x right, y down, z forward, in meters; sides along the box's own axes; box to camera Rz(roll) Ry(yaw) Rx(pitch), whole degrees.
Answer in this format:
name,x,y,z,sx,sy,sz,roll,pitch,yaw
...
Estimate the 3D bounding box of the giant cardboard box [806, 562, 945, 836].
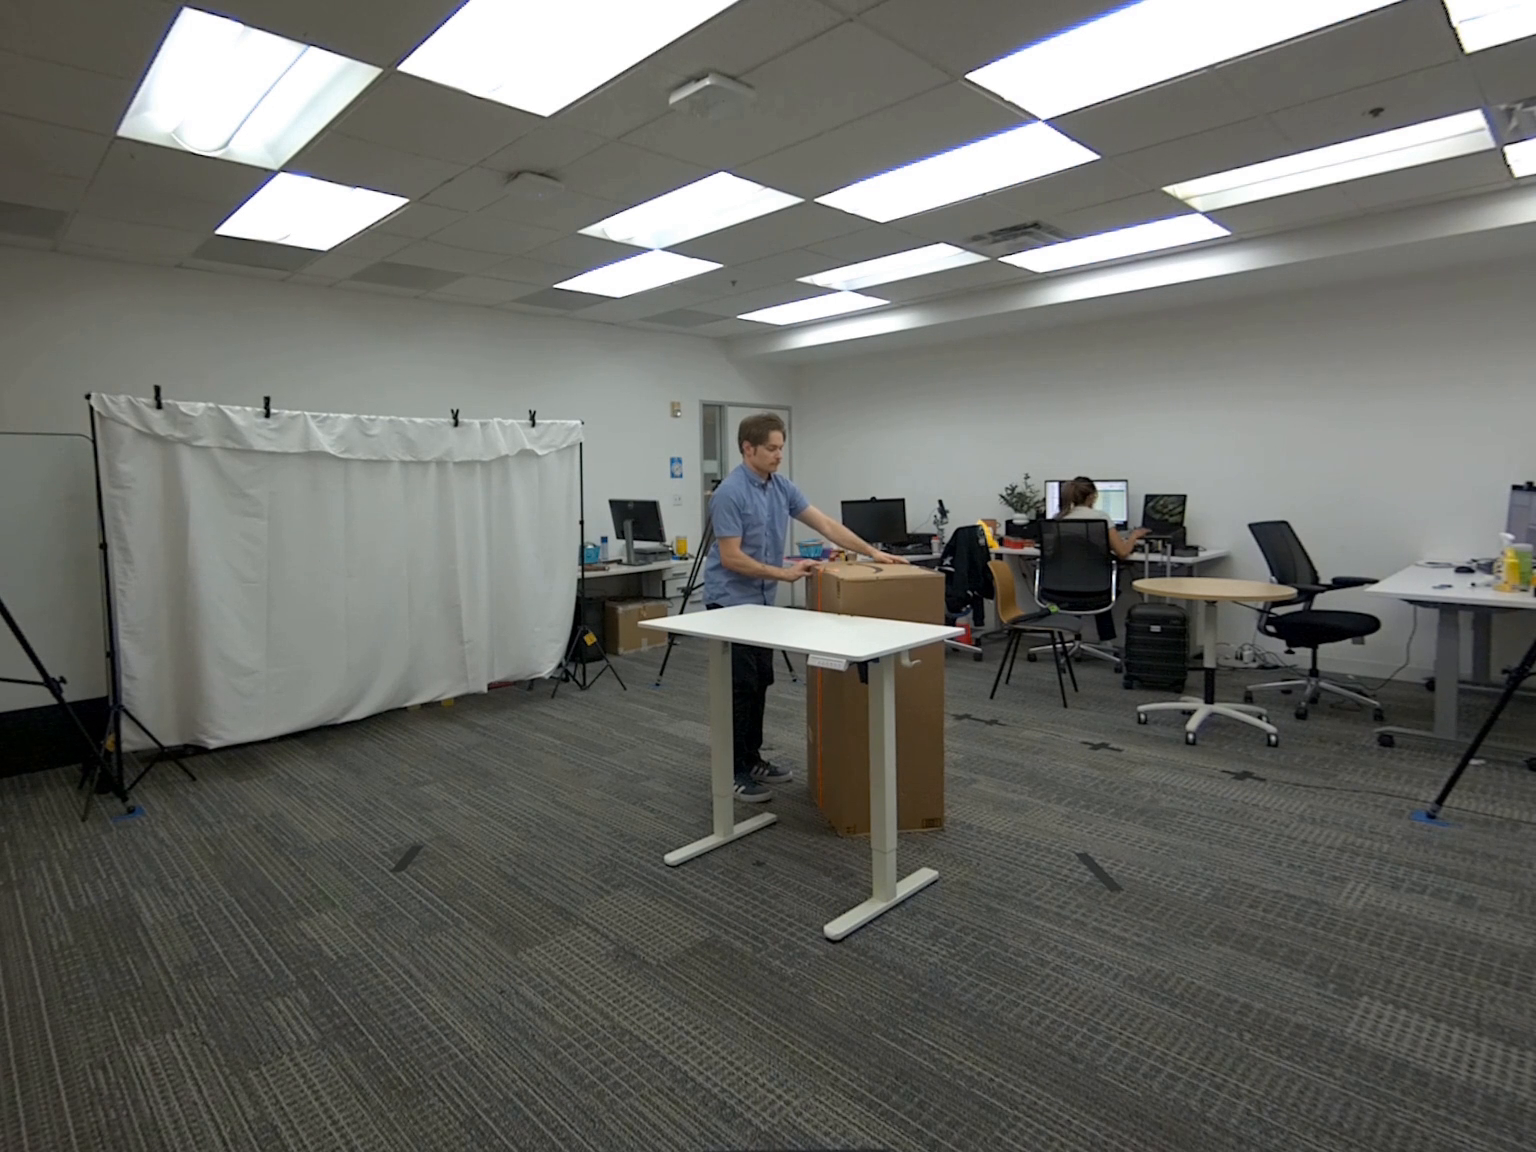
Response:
name,x,y,z,sx,sy,sz,roll,pitch,yaw
giant cardboard box,0.431,0.471,3.596,0.422,1.021,0.586,-2,5,-10
